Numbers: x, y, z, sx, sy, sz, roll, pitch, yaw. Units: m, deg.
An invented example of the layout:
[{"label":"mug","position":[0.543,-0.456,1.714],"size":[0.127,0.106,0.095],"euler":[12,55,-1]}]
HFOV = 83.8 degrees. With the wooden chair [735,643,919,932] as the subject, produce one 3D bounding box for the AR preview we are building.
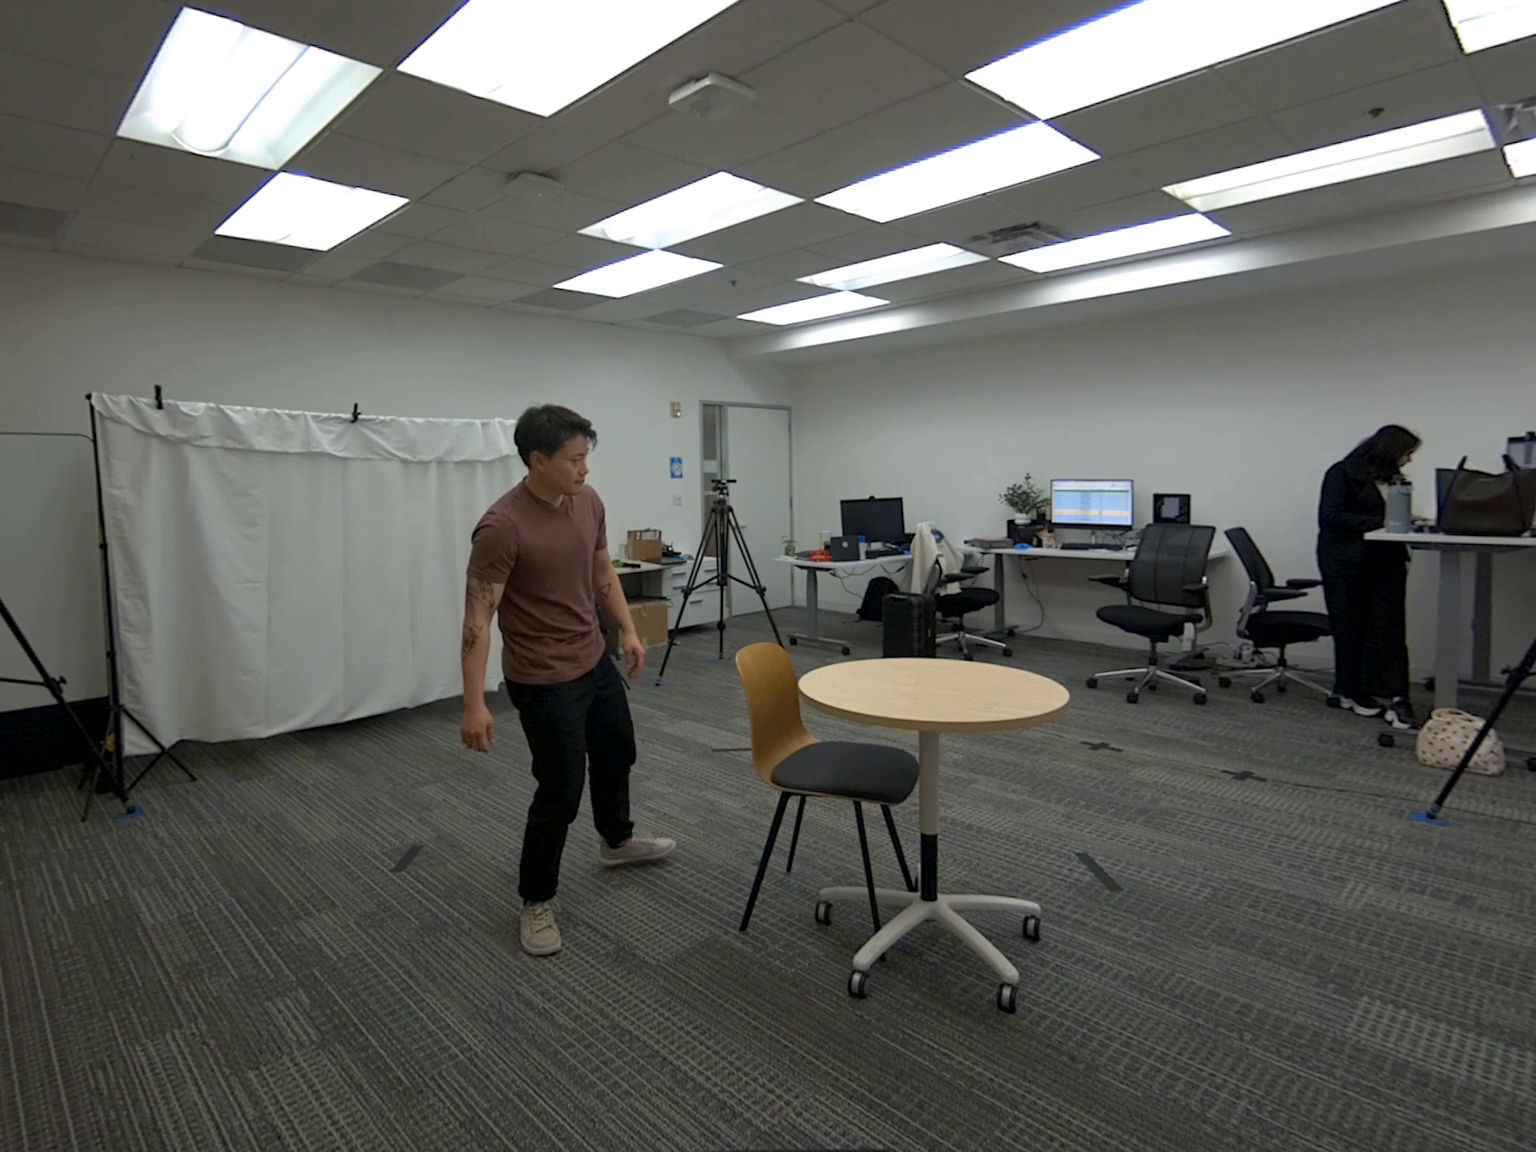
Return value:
[{"label":"wooden chair","position":[0.202,0.658,2.731],"size":[0.534,0.876,0.469],"euler":[-3,2,23]}]
